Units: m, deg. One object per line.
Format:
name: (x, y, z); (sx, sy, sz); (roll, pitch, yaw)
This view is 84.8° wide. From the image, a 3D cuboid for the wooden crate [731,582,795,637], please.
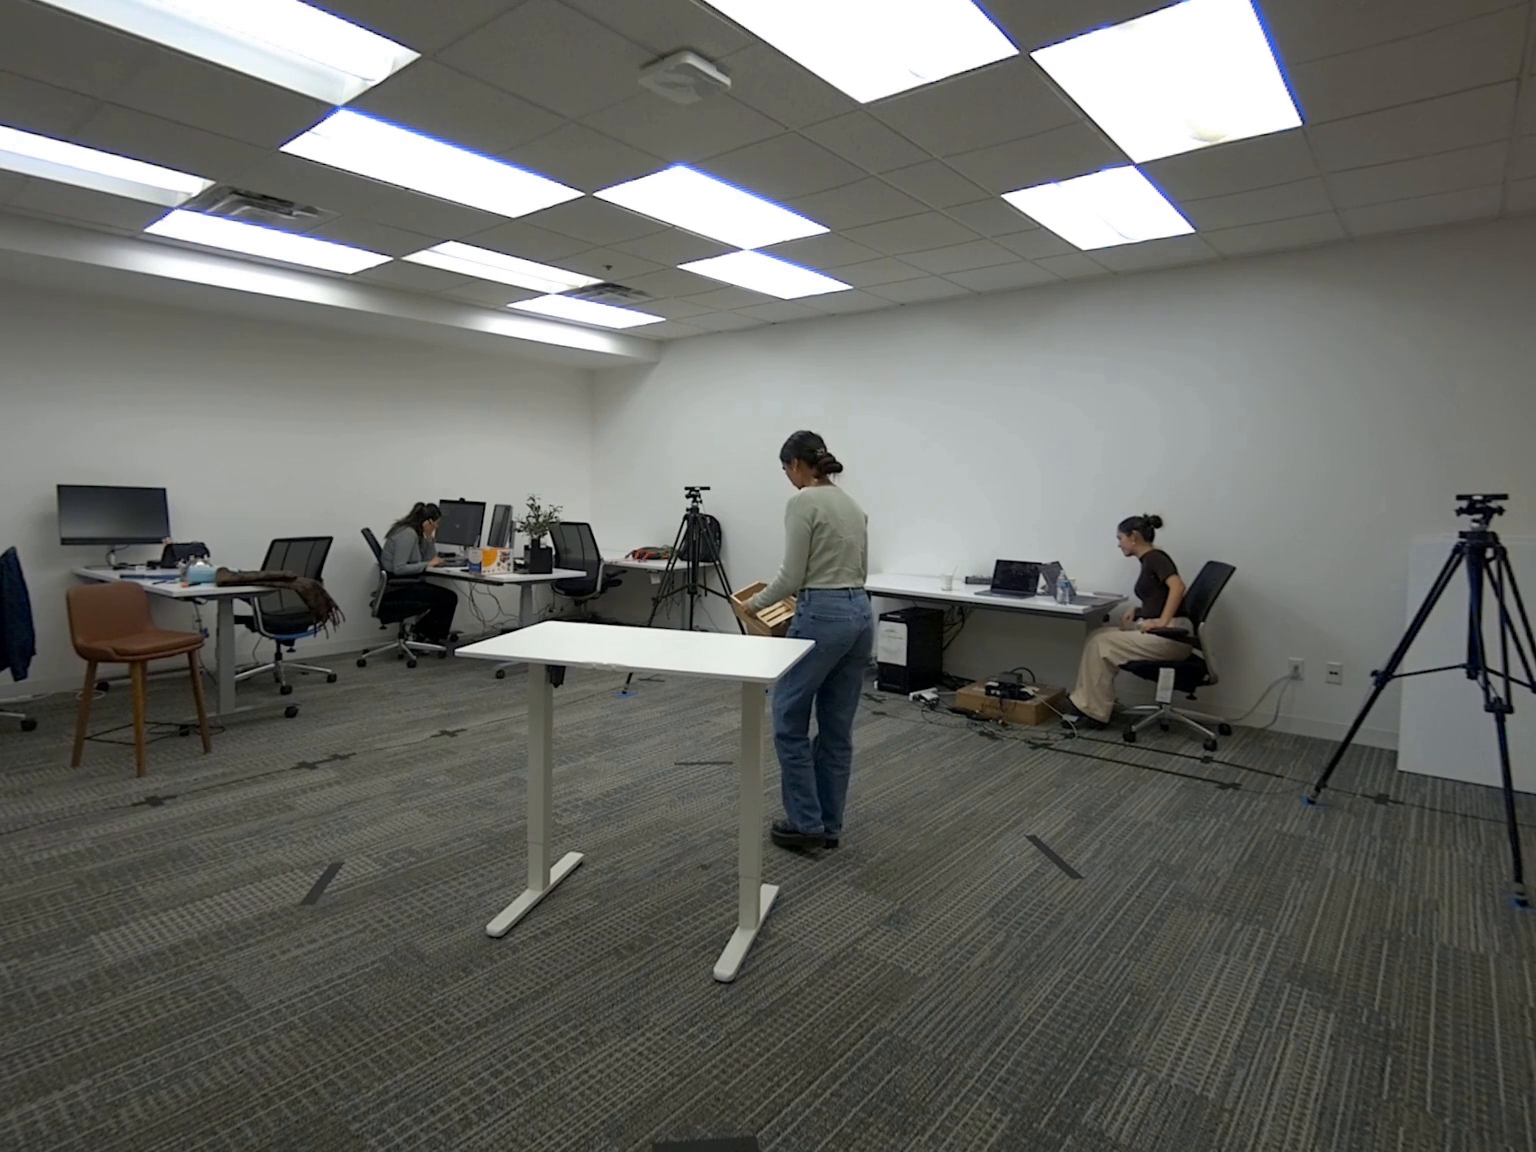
wooden crate: (0.053, 0.179, 3.574); (0.298, 0.265, 0.338); (-26, 34, -23)
